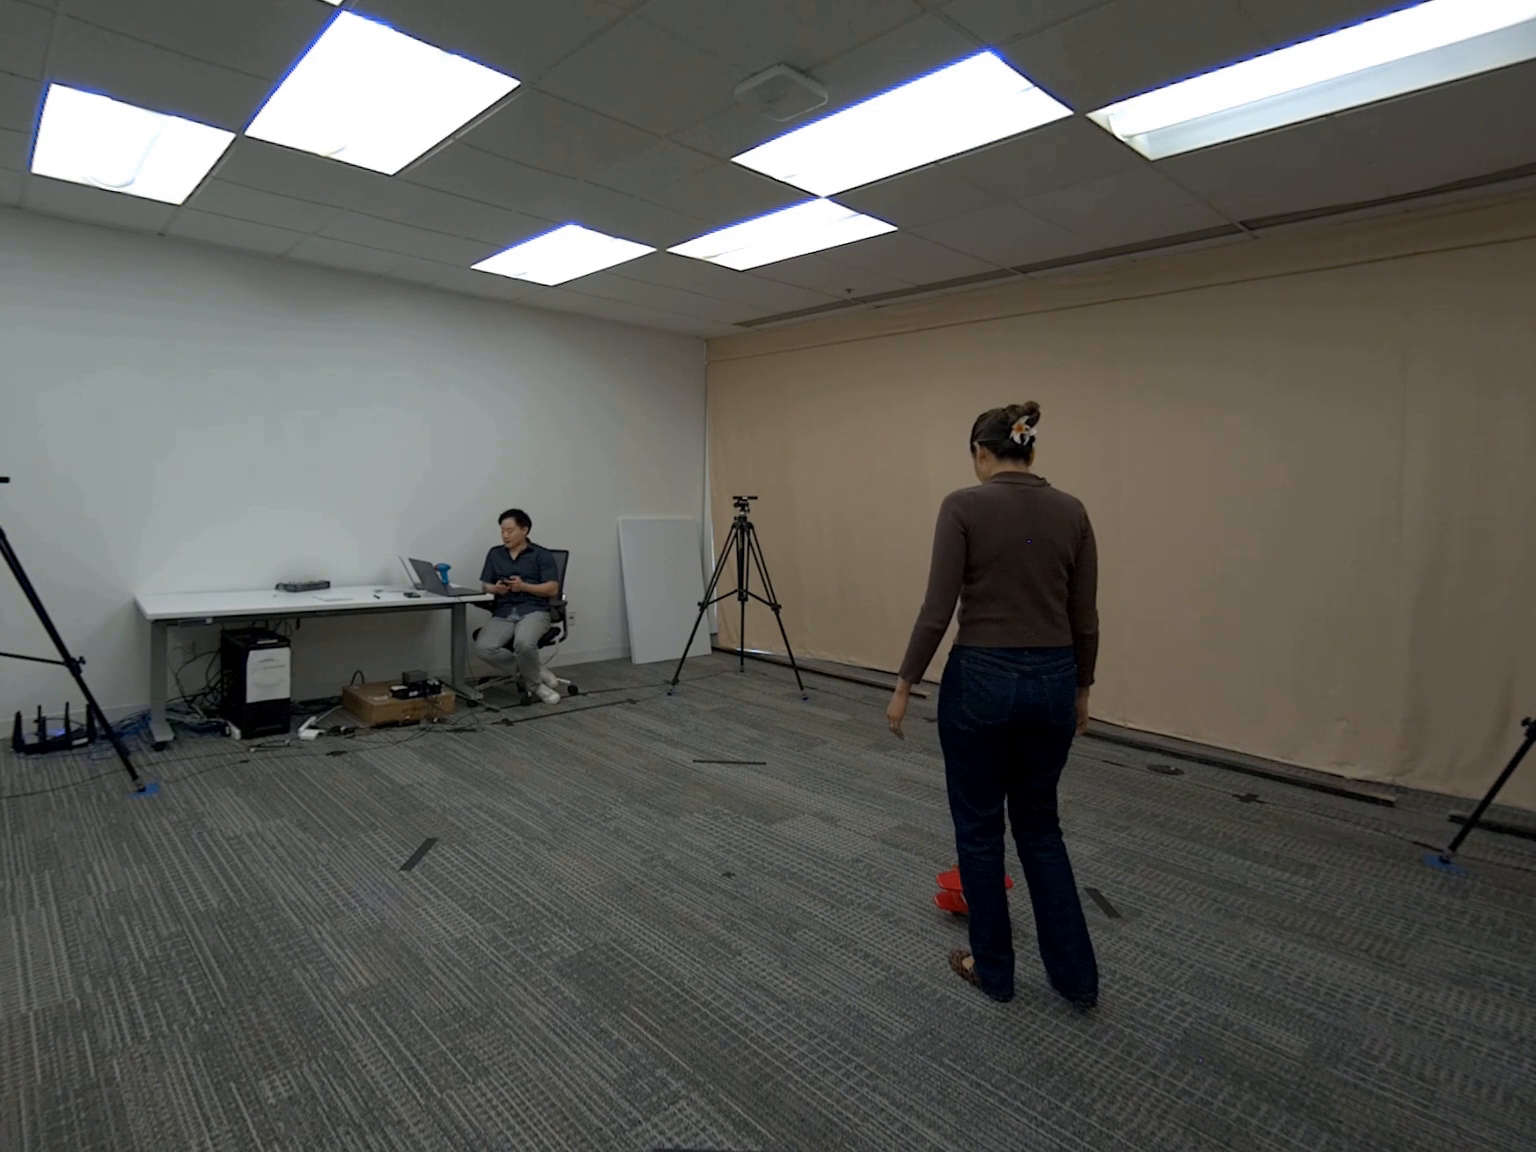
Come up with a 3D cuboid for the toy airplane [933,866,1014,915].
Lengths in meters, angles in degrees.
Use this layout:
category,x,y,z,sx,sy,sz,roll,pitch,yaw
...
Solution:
category,x,y,z,sx,sy,sz,roll,pitch,yaw
toy airplane,0.704,1.084,2.775,0.245,0.156,0.266,-1,5,-37
